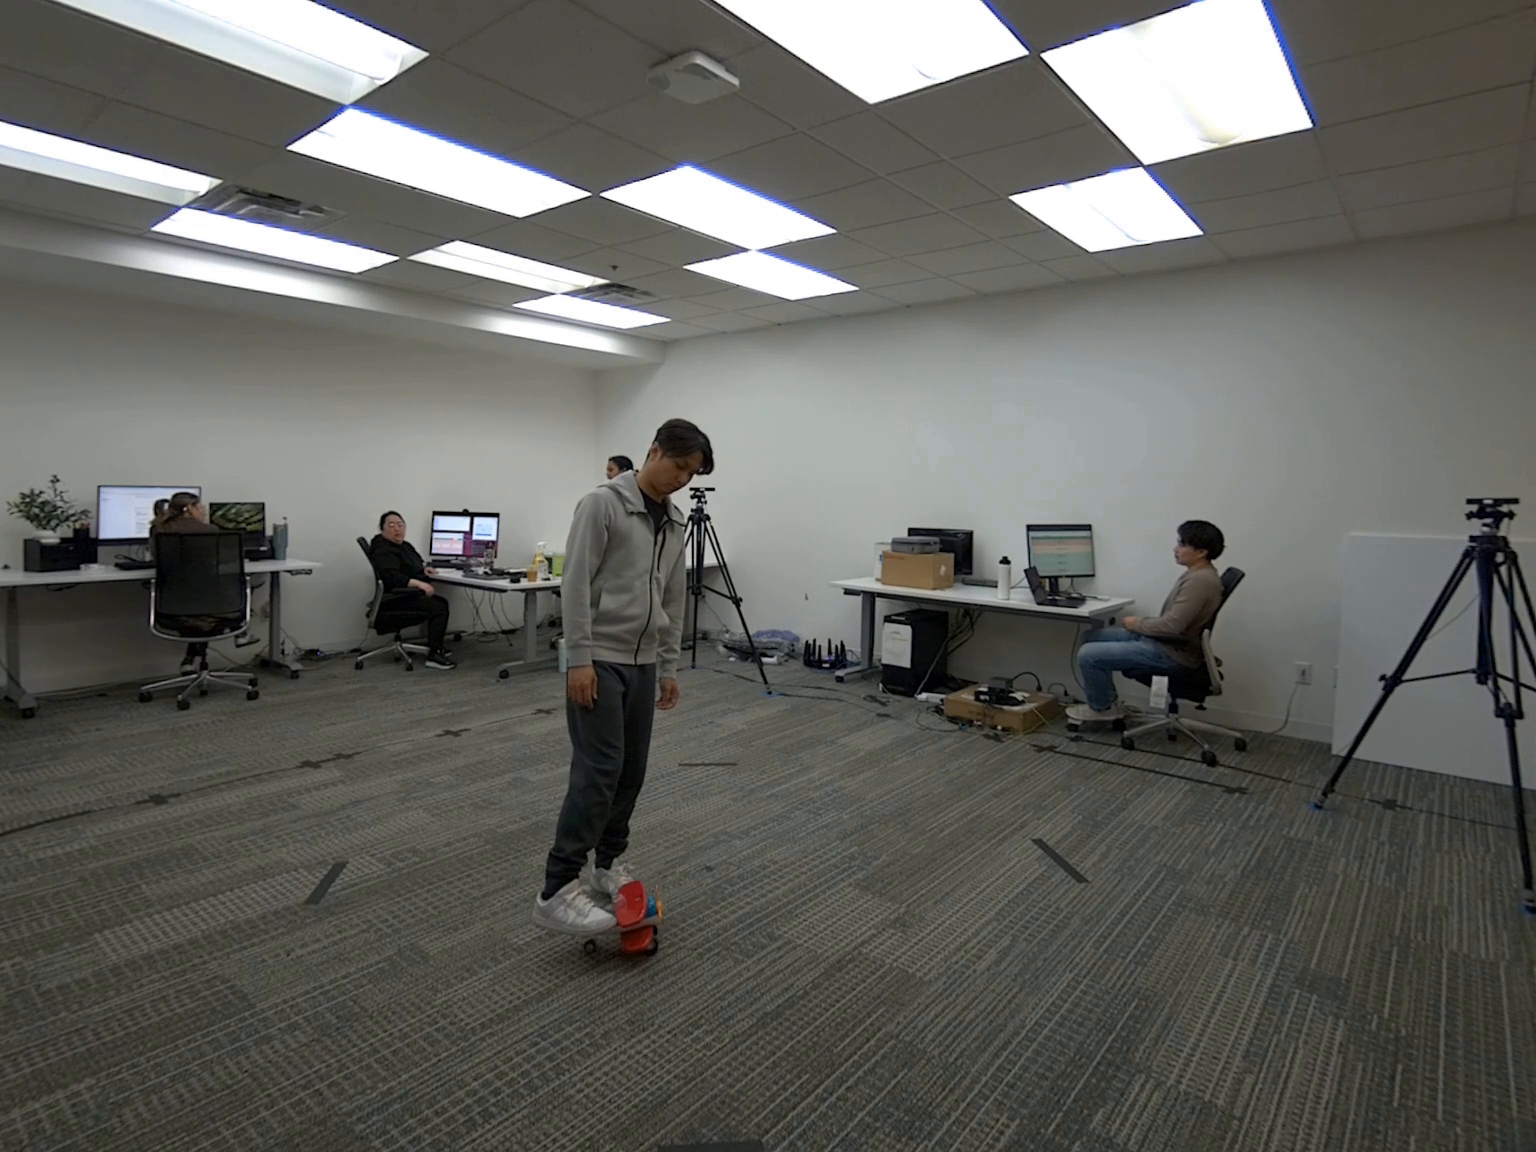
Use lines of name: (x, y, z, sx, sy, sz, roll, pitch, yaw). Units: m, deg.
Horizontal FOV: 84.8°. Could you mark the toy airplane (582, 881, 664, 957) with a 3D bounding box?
toy airplane: (-0.447, 1.048, 2.541, 0.252, 0.156, 0.259, -2, 6, -36)
